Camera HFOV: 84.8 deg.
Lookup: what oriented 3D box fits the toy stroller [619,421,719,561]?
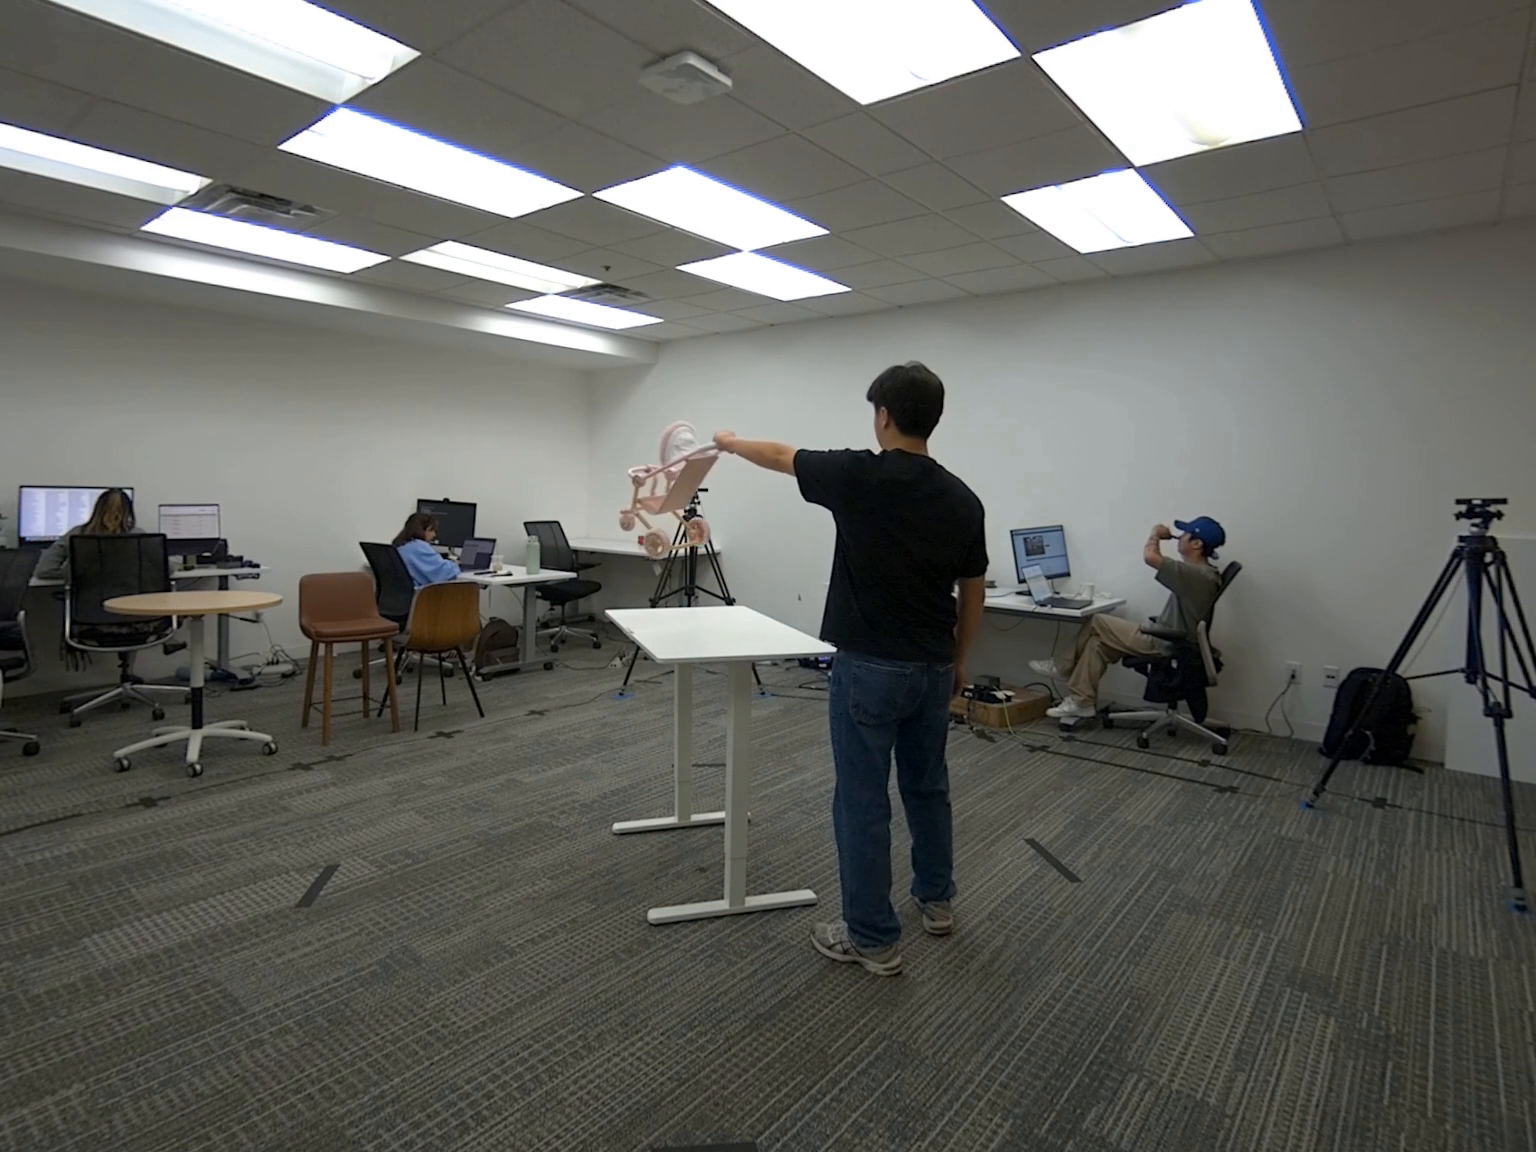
[{"bbox_3d":[-0.359,-0.321,3.082,0.354,0.529,0.274,36,28,28],"label":"toy stroller"}]
